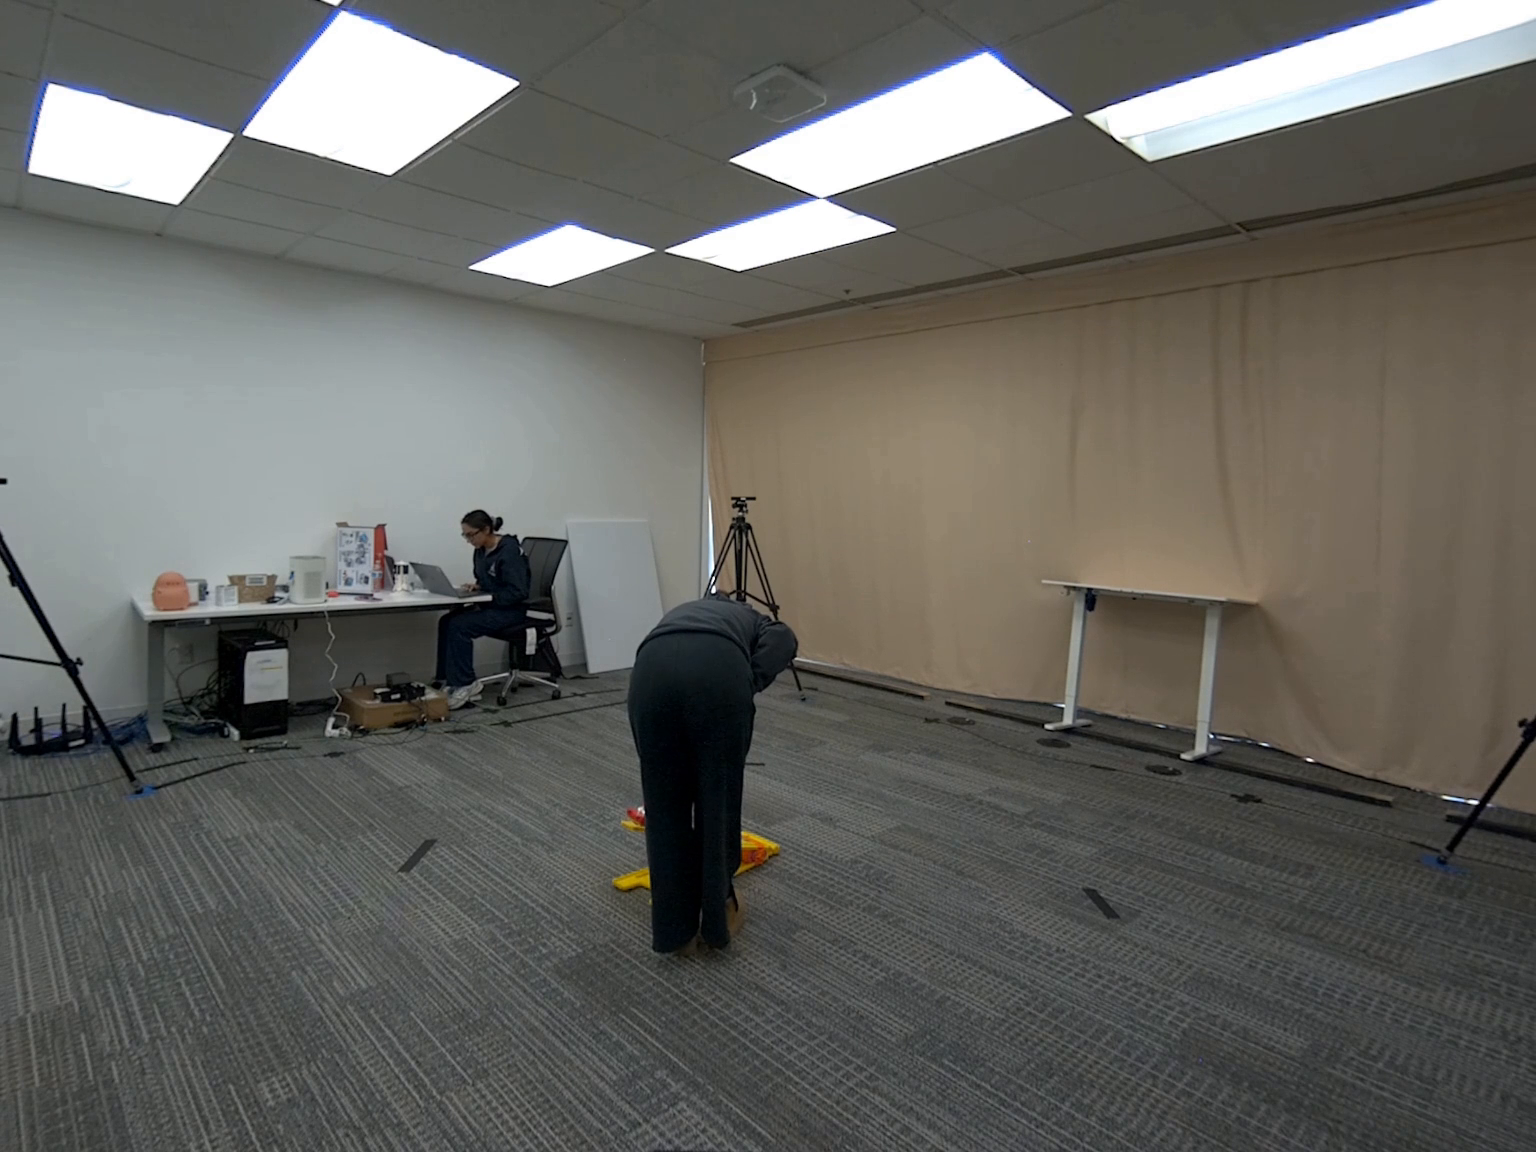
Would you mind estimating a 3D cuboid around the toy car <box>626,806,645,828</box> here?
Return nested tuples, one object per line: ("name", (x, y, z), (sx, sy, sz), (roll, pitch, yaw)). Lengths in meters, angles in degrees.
("toy car", (-0.399, 0.874, 2.974), (0.134, 0.083, 0.247), (12, -18, 48))
